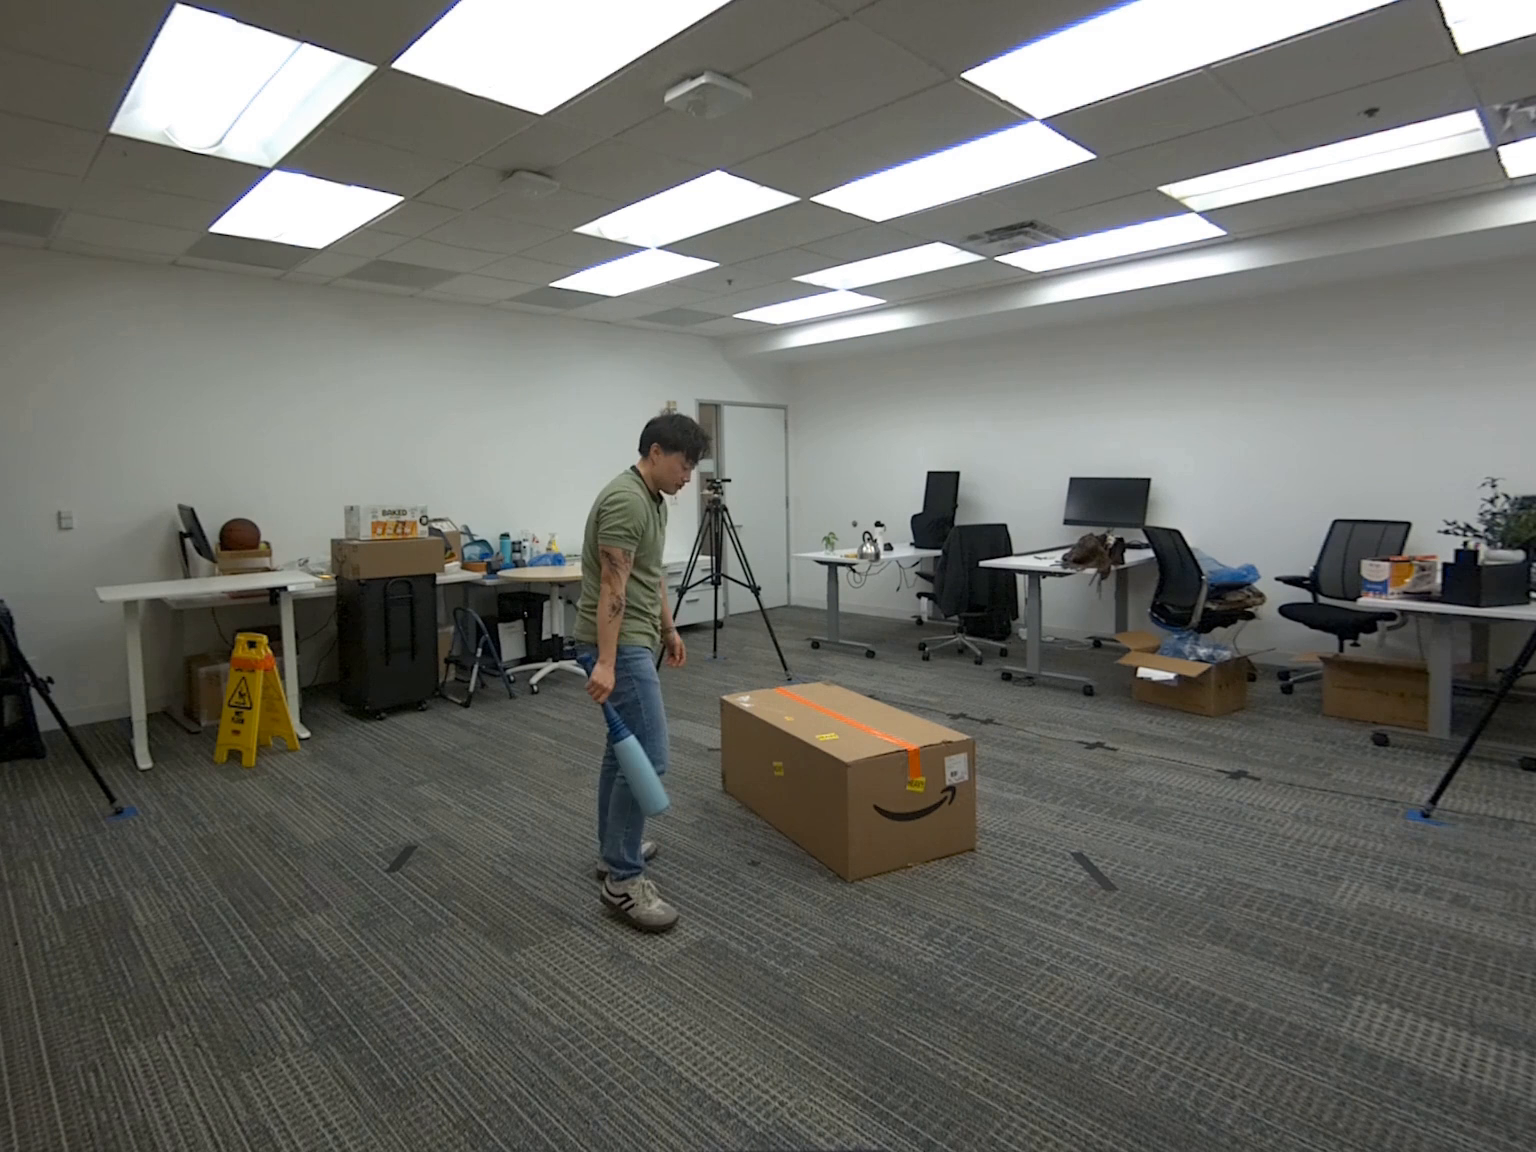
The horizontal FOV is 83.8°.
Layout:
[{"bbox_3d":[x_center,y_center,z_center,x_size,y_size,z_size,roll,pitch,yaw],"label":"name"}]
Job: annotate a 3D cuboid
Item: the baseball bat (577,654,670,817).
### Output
[{"bbox_3d":[-0.455,0.490,2.670,0.089,0.547,0.088,-27,-6,-4],"label":"baseball bat"}]
